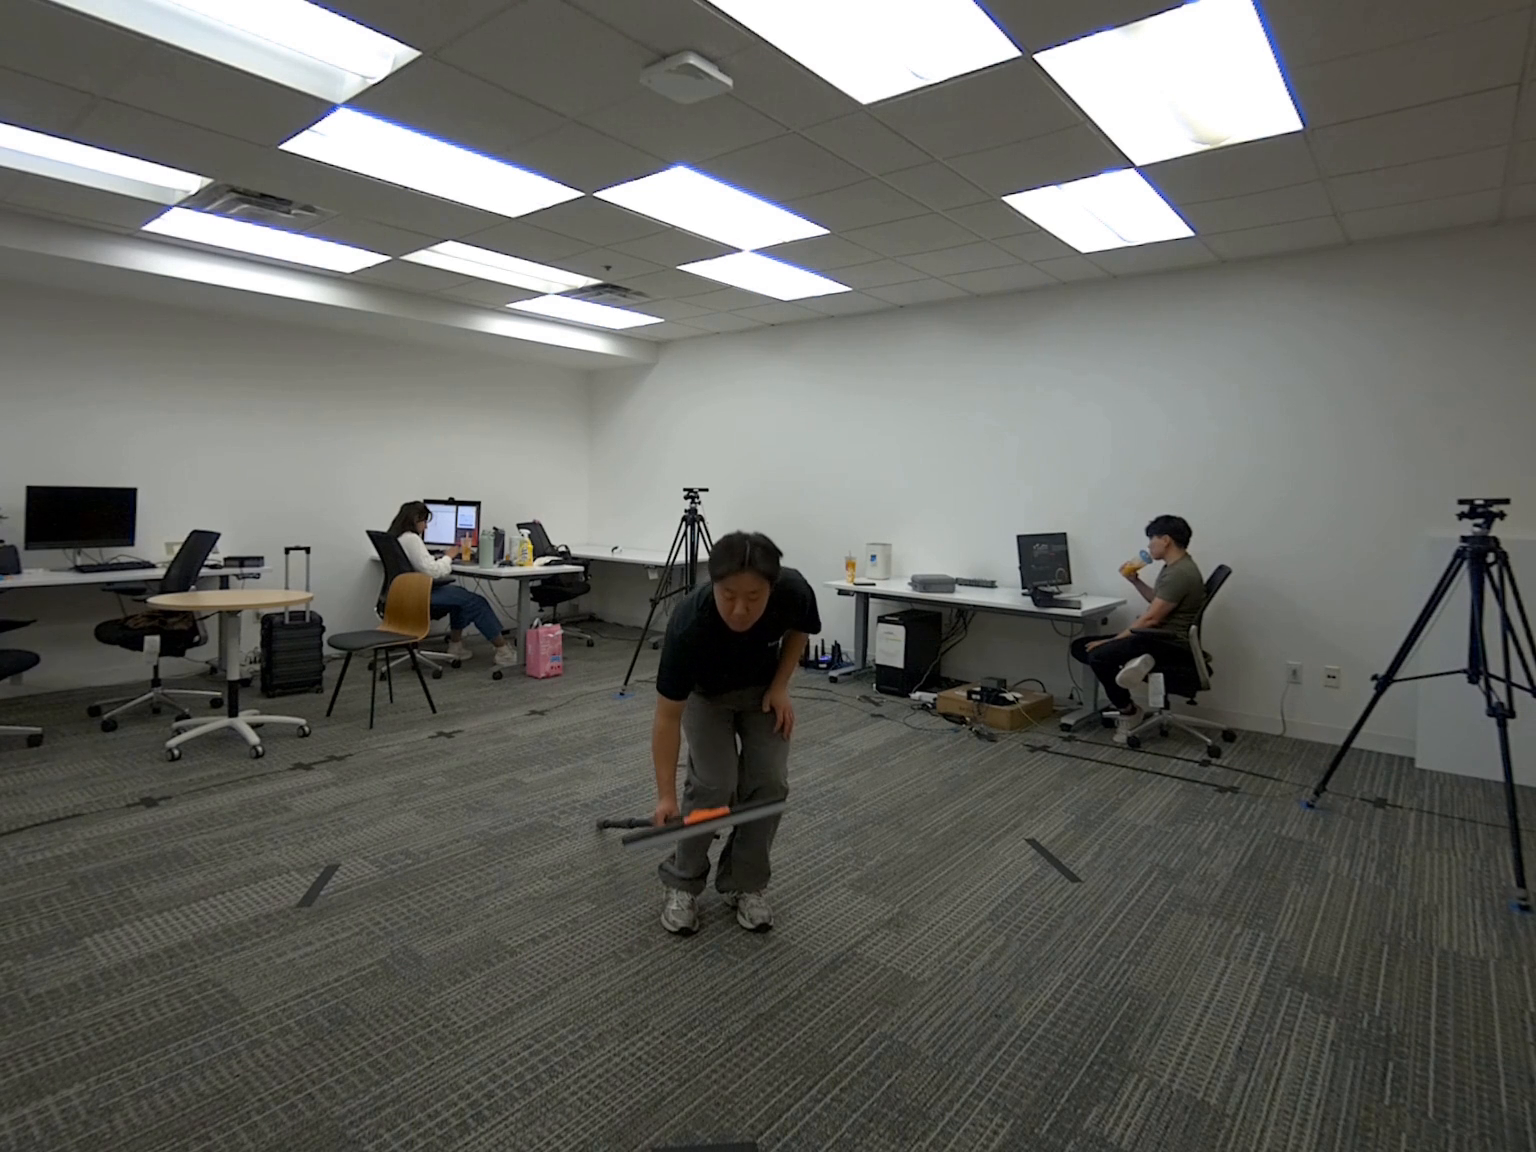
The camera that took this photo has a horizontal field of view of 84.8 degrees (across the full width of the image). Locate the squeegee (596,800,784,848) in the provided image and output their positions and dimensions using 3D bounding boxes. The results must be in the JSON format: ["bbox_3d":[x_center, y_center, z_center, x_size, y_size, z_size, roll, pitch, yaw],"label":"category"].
[{"bbox_3d":[-0.450,0.808,2.775,0.429,0.054,1.543,-8,-11,-22],"label":"squeegee"}]
